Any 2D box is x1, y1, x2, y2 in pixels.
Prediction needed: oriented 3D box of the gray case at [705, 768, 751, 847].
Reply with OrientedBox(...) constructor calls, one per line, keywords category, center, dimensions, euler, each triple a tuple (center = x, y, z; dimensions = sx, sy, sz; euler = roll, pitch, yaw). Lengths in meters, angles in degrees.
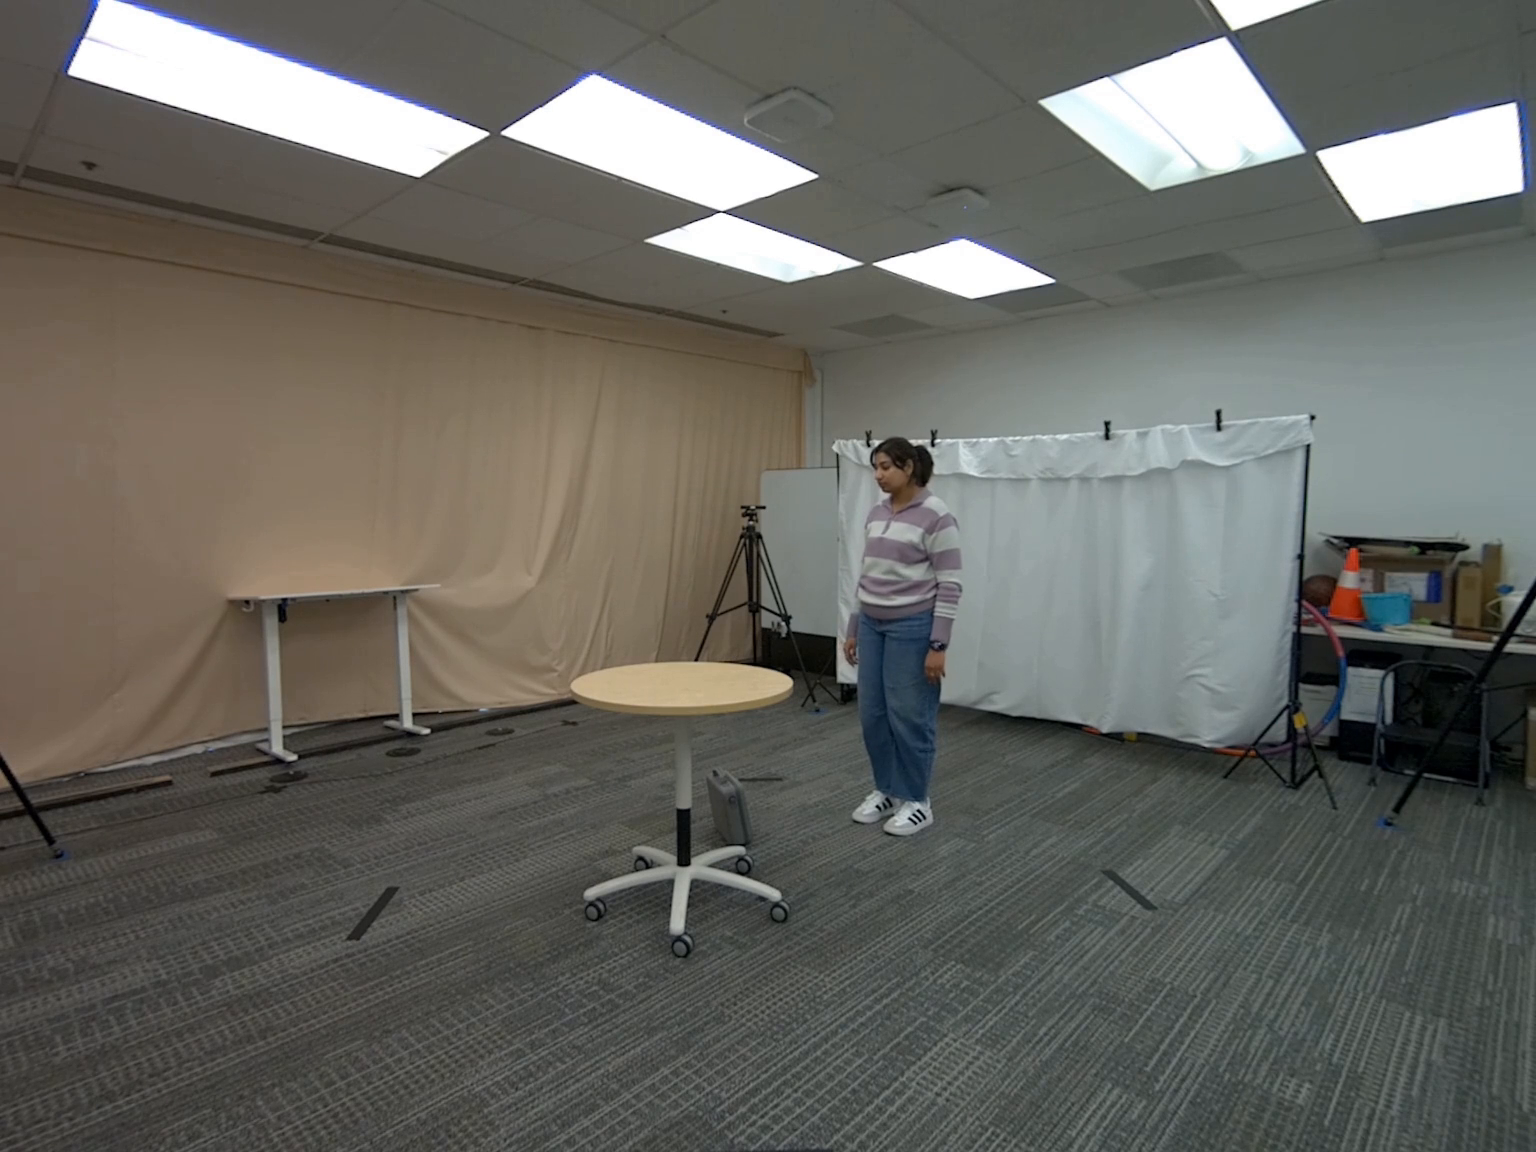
OrientedBox(category="gray case", center=(-0.159, 0.961, 3.534), dimensions=(0.102, 0.259, 0.262), euler=(-9, 7, -19))
